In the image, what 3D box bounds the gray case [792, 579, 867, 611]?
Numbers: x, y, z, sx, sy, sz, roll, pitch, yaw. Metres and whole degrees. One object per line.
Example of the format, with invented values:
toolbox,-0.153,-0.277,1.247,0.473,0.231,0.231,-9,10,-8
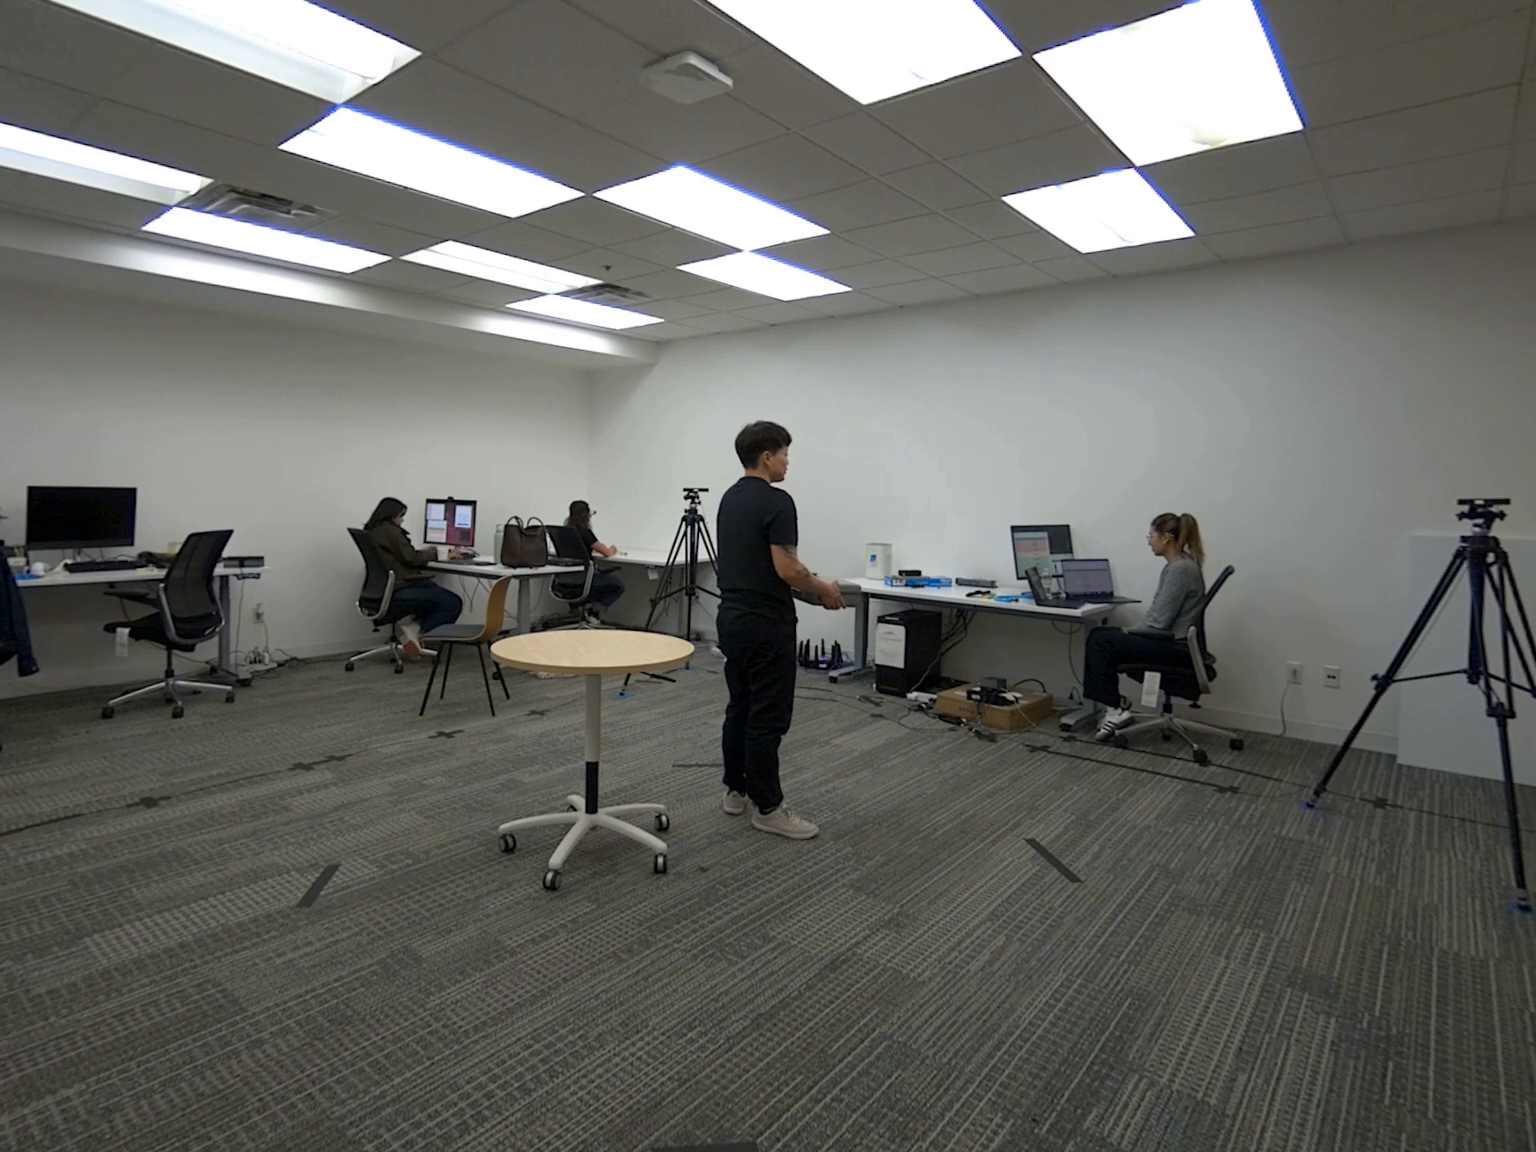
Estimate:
gray case,0.239,0.063,3.715,0.255,0.104,0.264,2,9,-22
